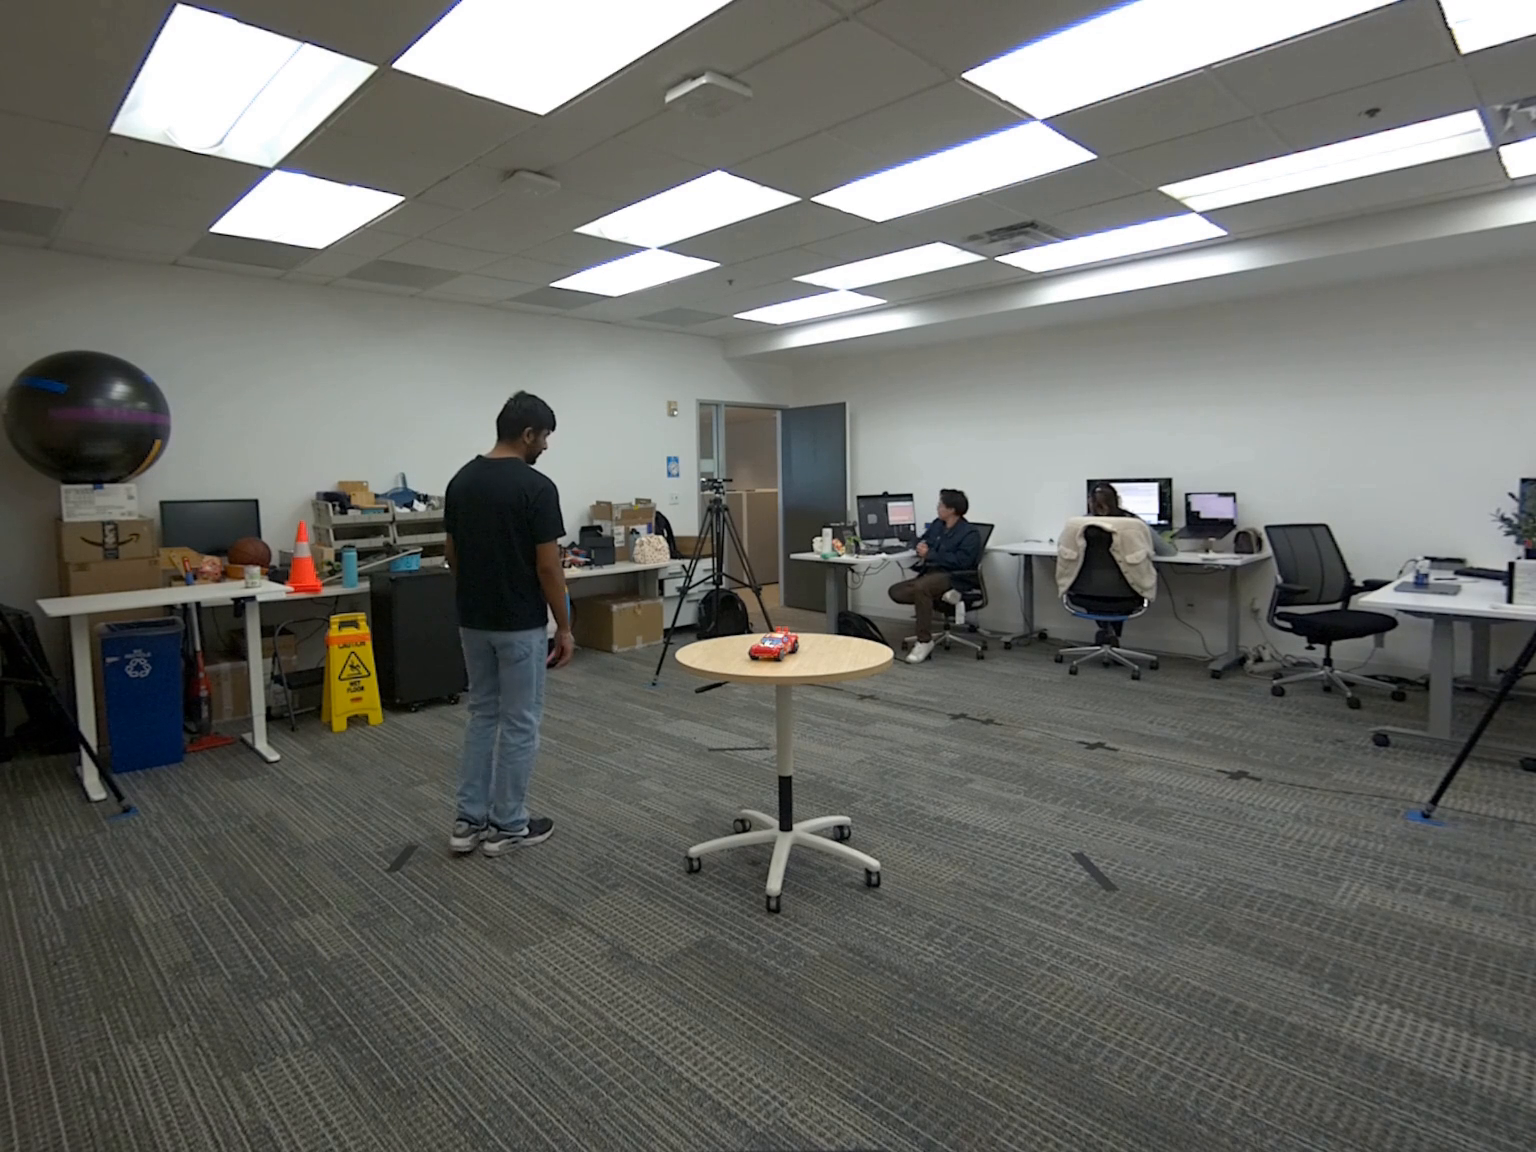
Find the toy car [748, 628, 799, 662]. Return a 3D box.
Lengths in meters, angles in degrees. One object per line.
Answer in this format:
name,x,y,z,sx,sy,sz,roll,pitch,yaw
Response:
toy car,0.036,0.243,2.967,0.133,0.082,0.253,-1,17,22
